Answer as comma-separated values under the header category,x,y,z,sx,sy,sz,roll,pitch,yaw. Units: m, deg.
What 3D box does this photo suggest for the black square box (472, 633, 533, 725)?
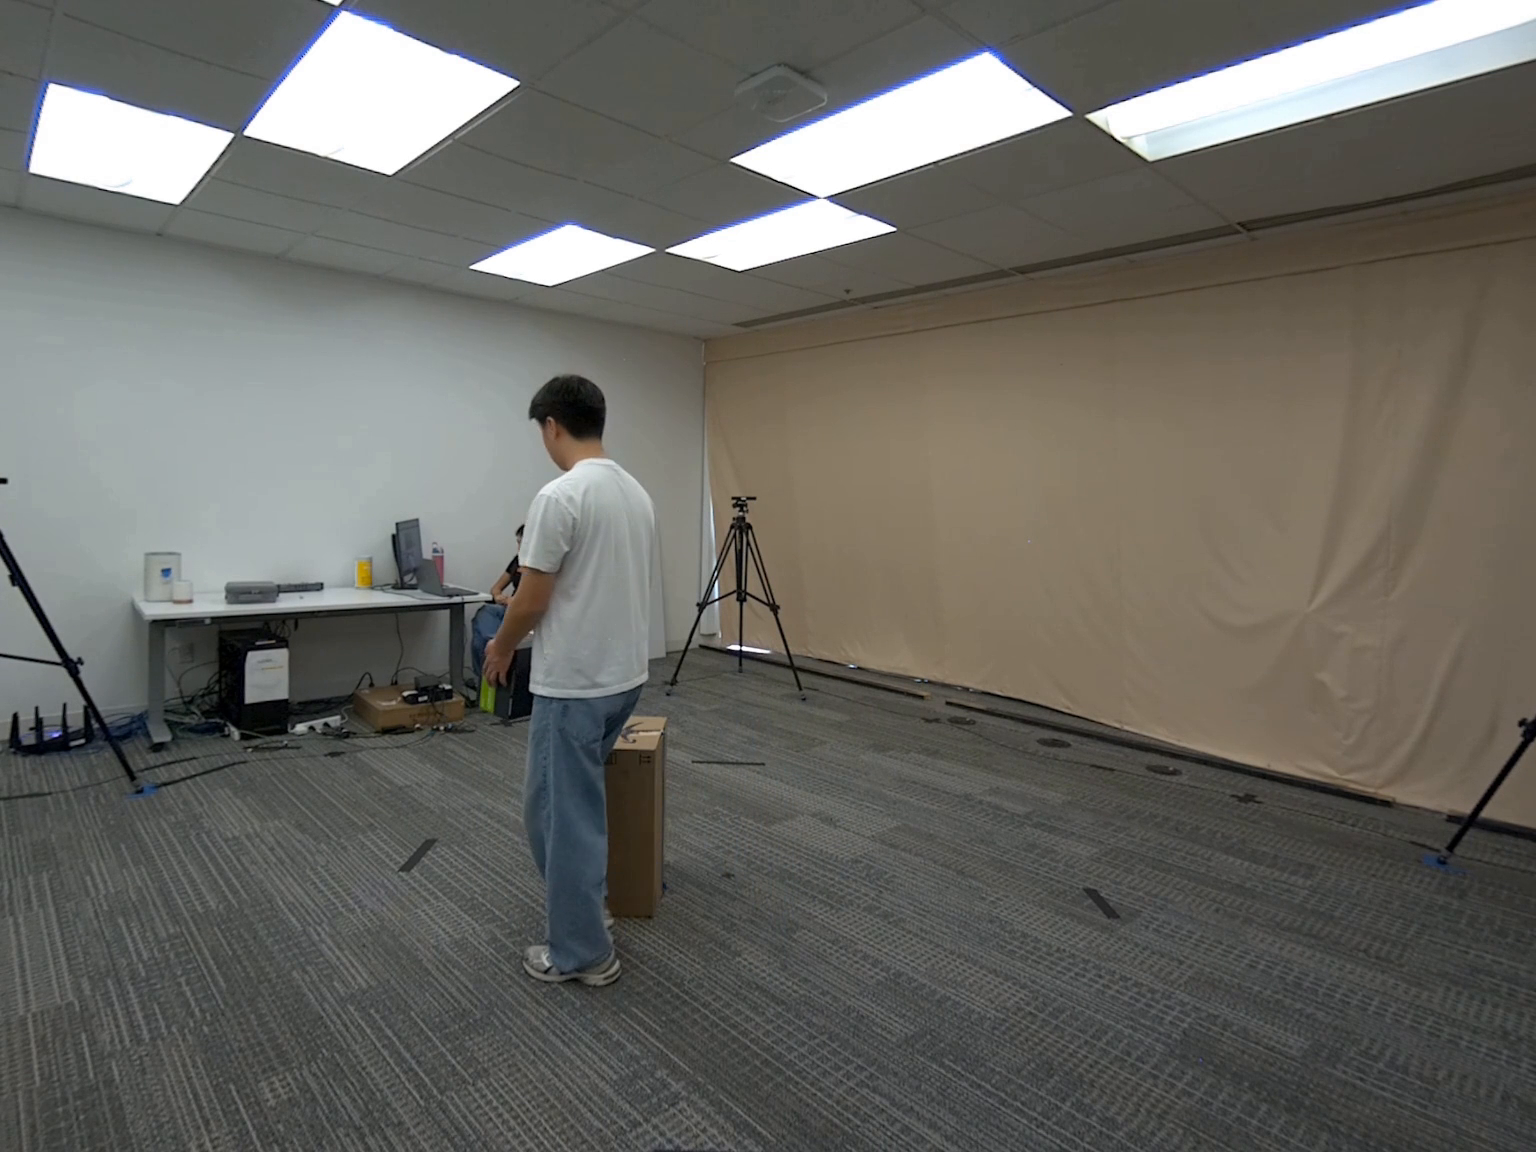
category,x,y,z,sx,sy,sz,roll,pitch,yaw
black square box,-0.773,0.308,2.634,0.160,0.227,0.212,12,9,31
